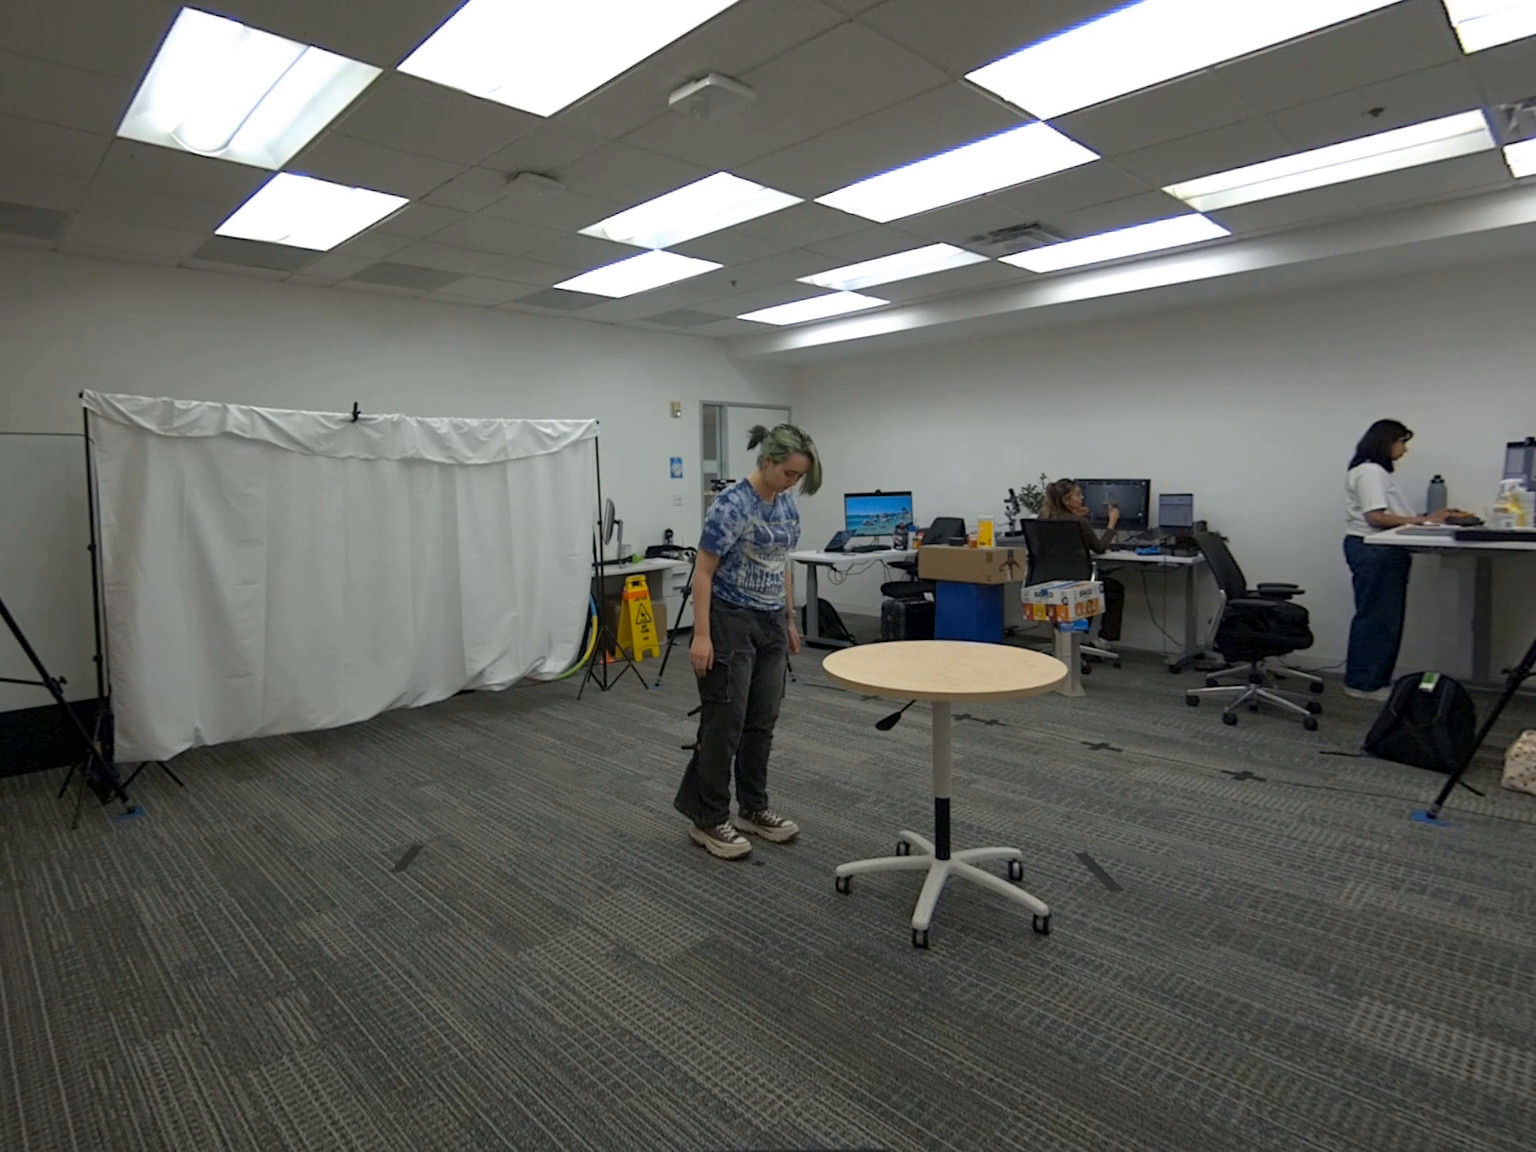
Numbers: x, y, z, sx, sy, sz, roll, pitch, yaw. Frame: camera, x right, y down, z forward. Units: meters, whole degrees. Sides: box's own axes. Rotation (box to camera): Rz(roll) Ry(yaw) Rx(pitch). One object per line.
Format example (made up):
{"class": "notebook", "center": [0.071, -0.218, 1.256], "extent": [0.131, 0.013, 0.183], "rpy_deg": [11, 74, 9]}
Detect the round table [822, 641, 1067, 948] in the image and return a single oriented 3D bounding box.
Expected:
{"class": "round table", "center": [0.577, 0.683, 2.790], "extent": [0.763, 0.791, 0.768], "rpy_deg": [-1, 5, -2]}
